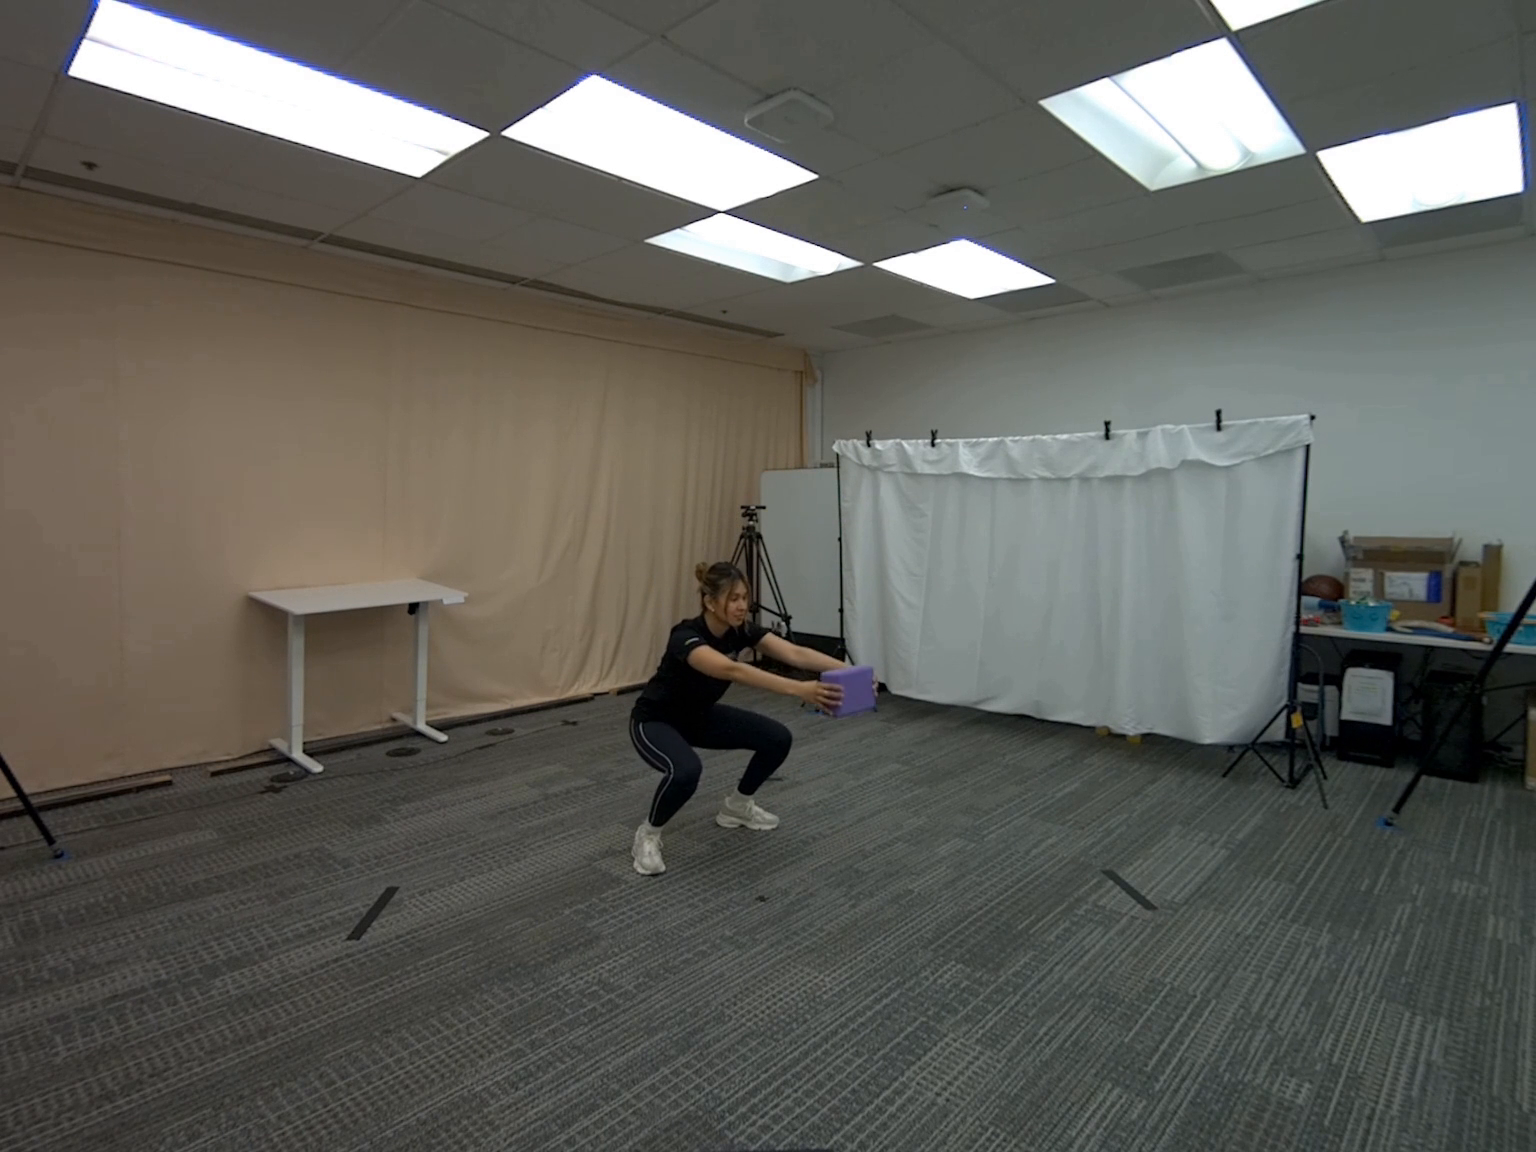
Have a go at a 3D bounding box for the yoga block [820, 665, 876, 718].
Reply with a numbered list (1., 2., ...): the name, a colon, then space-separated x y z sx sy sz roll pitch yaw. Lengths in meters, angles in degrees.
1. yoga block: 0.280 0.386 2.912 0.079 0.149 0.222 -1 2 45
